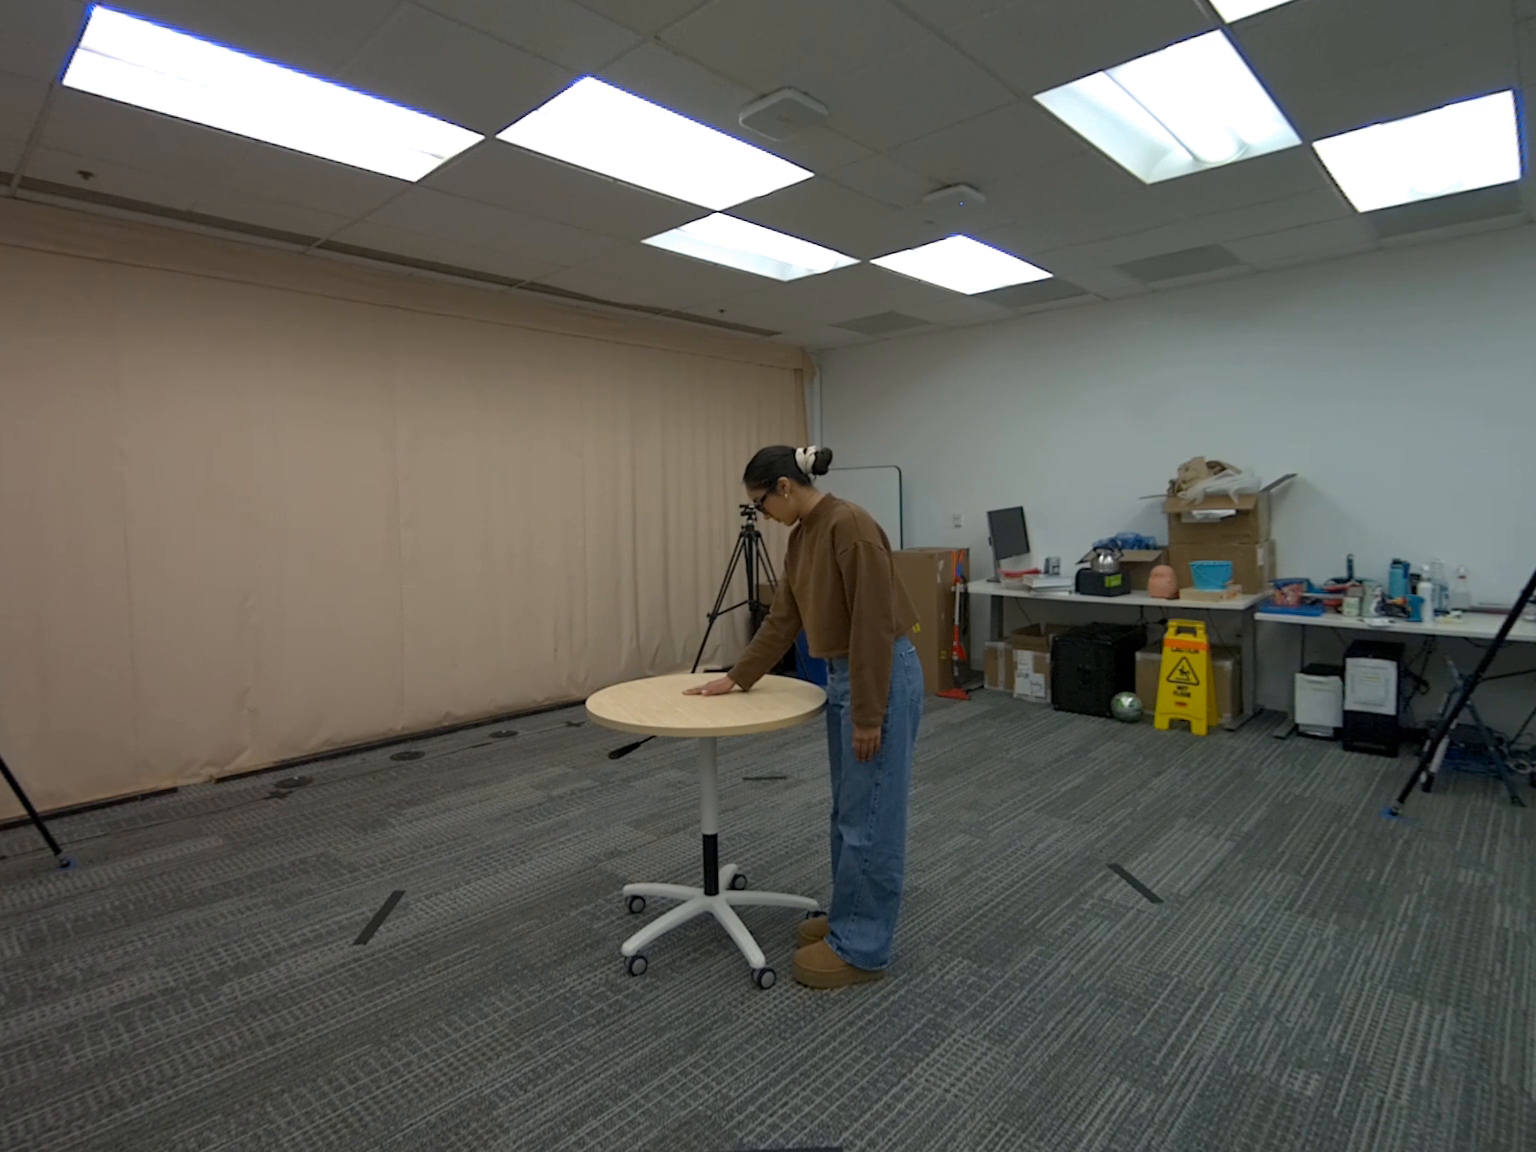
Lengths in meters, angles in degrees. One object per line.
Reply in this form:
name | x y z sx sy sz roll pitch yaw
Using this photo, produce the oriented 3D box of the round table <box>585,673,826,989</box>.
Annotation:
round table | -0.189 0.782 2.709 0.763 0.792 0.767 -2 4 -2
